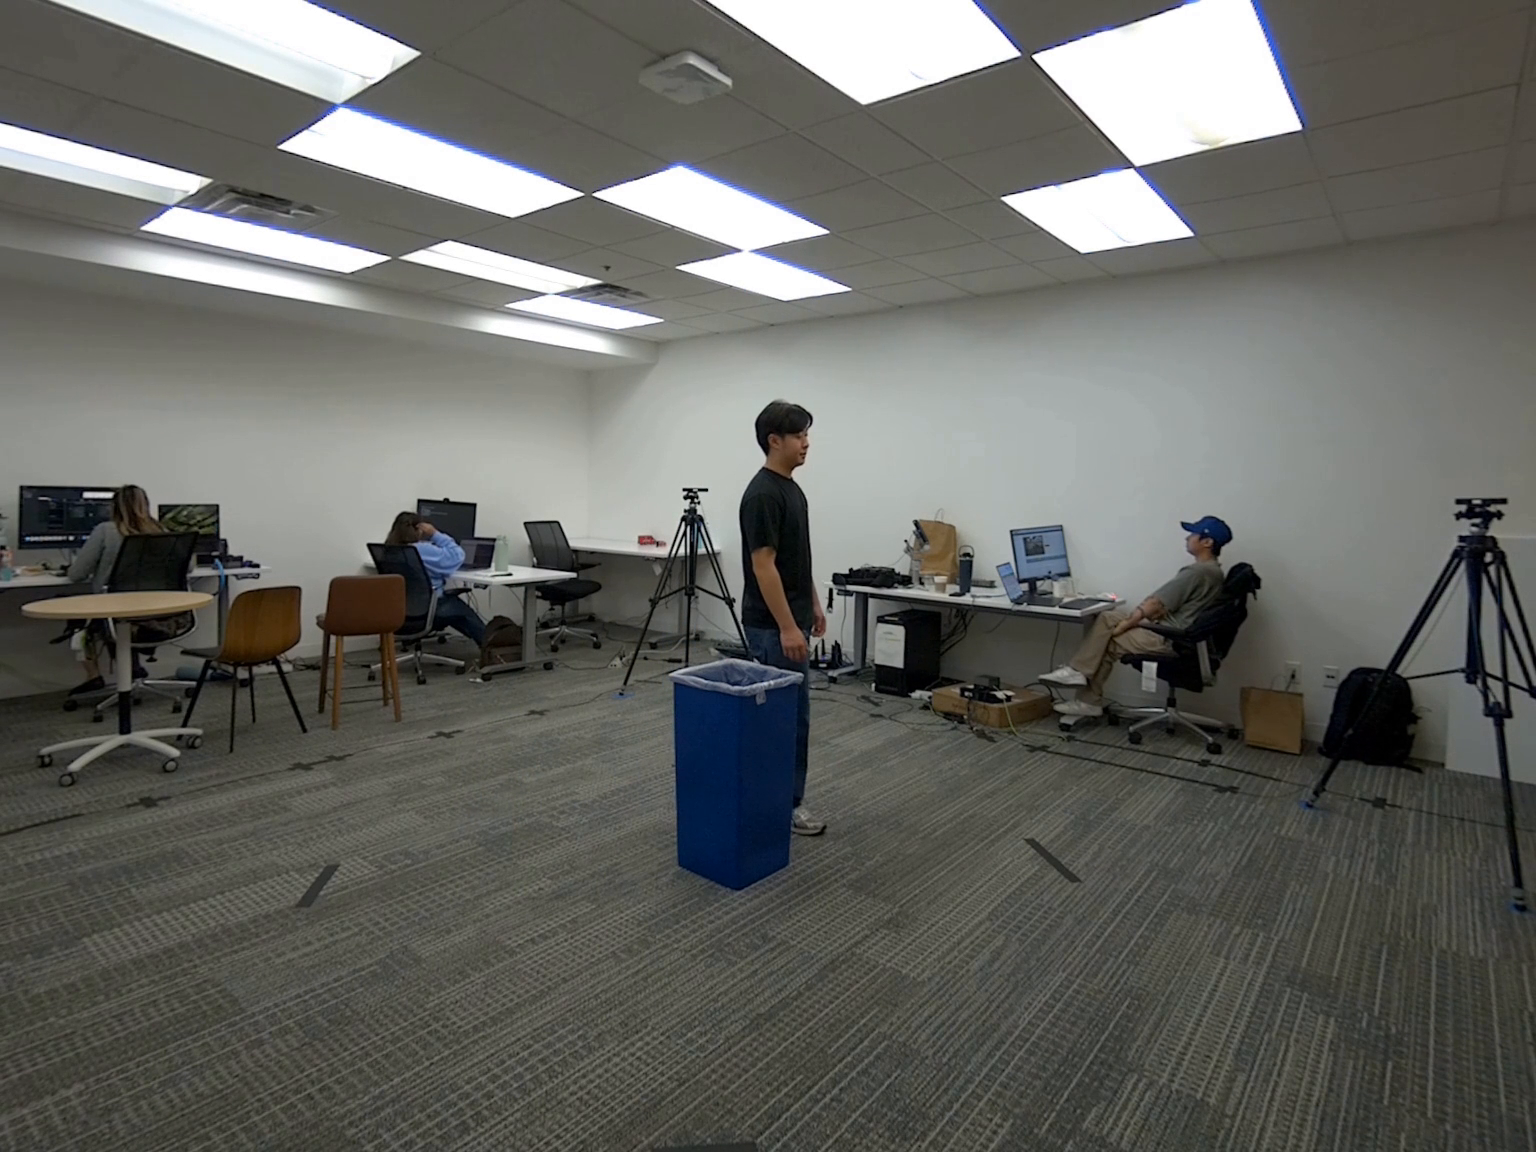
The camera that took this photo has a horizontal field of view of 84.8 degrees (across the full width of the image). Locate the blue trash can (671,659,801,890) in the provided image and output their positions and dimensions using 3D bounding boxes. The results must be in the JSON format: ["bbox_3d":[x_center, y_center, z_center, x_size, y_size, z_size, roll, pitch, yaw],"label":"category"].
[{"bbox_3d":[-0.141,0.708,3.136,0.387,0.712,0.366,4,4,41],"label":"blue trash can"}]
